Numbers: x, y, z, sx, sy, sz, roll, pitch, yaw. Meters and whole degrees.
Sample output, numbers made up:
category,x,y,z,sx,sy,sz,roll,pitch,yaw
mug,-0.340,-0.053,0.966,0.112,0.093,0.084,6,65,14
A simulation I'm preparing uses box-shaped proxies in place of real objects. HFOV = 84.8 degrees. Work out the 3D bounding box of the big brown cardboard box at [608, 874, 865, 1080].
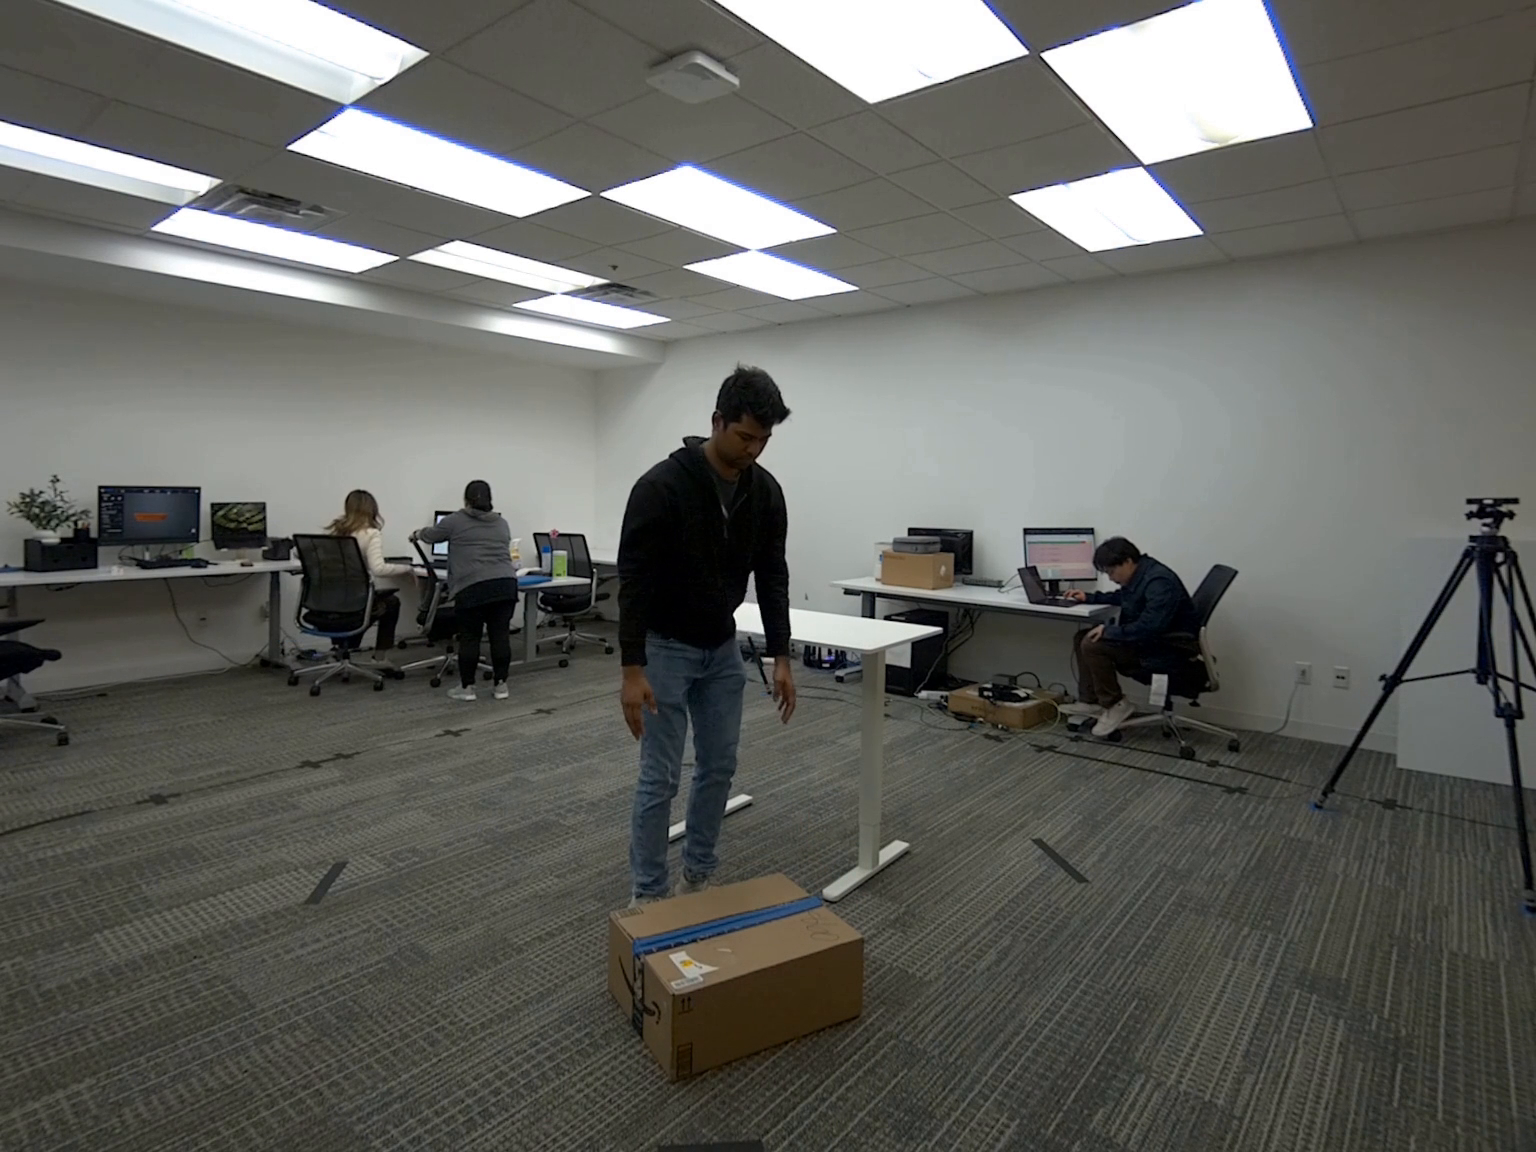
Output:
category,x,y,z,sx,sy,sz,roll,pitch,yaw
big brown cardboard box,-0.101,1.039,2.290,0.573,0.232,0.431,-1,6,-31
